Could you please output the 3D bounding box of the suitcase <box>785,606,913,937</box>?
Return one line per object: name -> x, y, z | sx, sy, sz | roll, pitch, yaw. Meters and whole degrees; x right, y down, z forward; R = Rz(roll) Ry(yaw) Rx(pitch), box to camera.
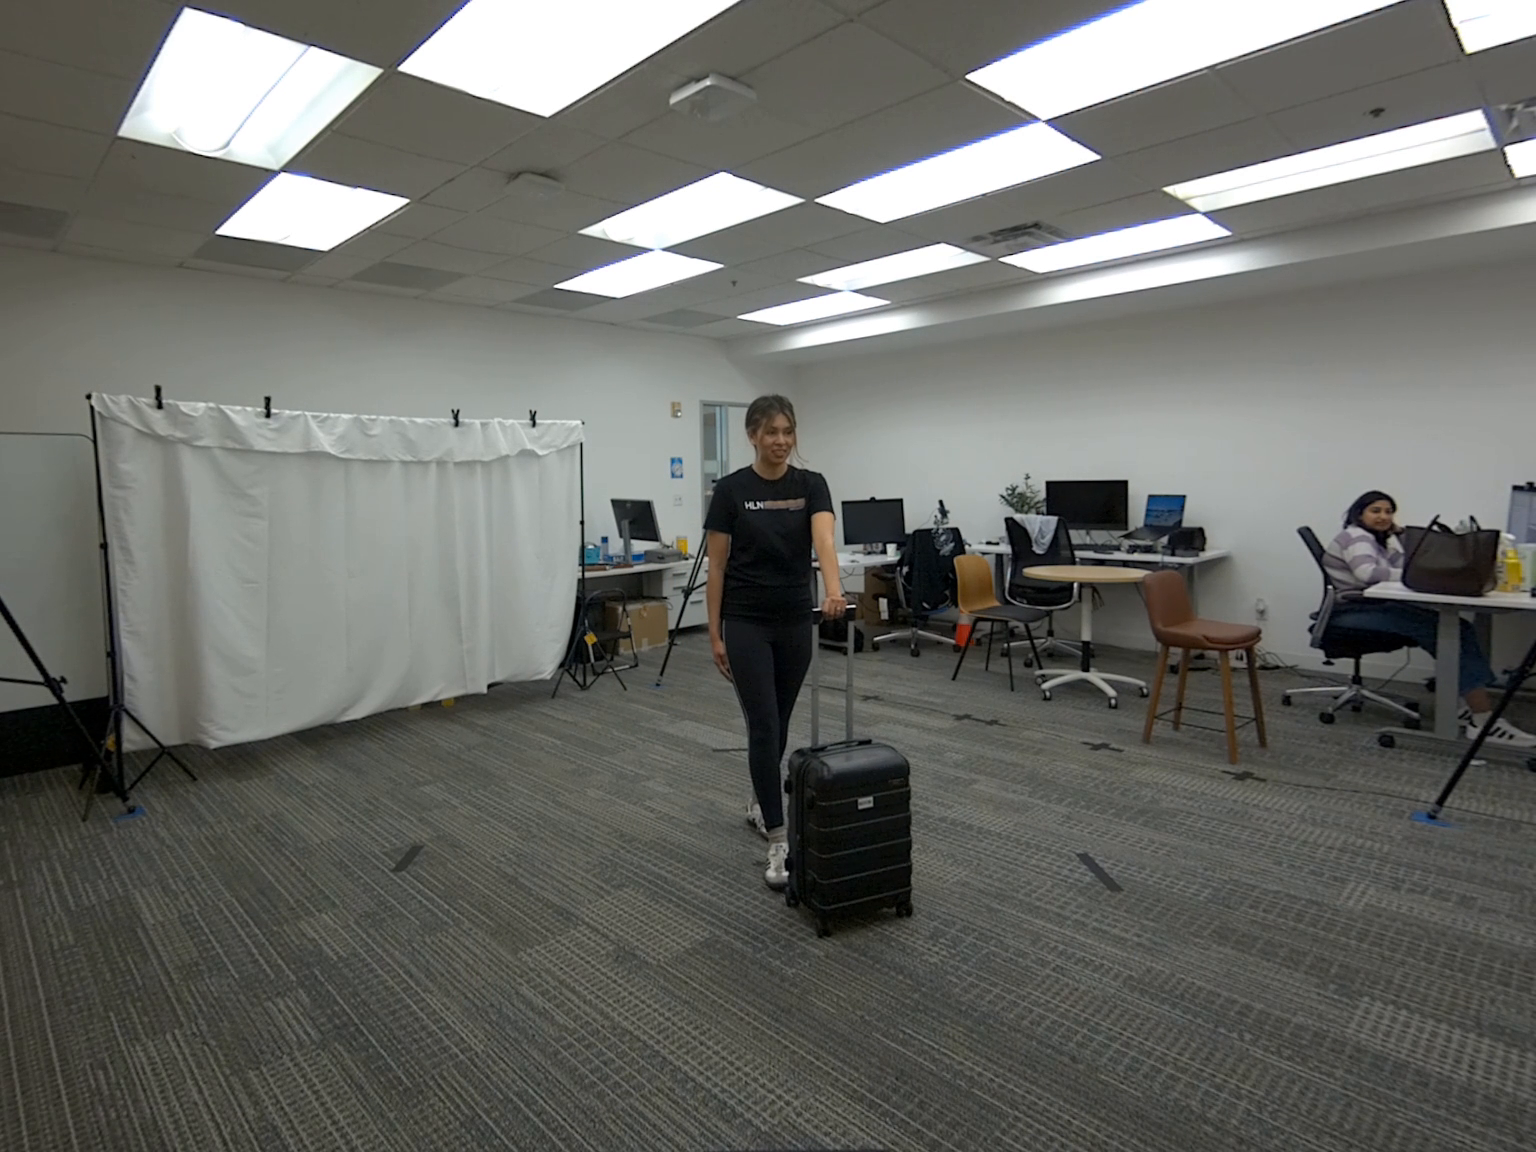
suitcase -> 0.265, 0.608, 2.704 | 0.377, 0.973, 0.263 | -3, 6, -19
